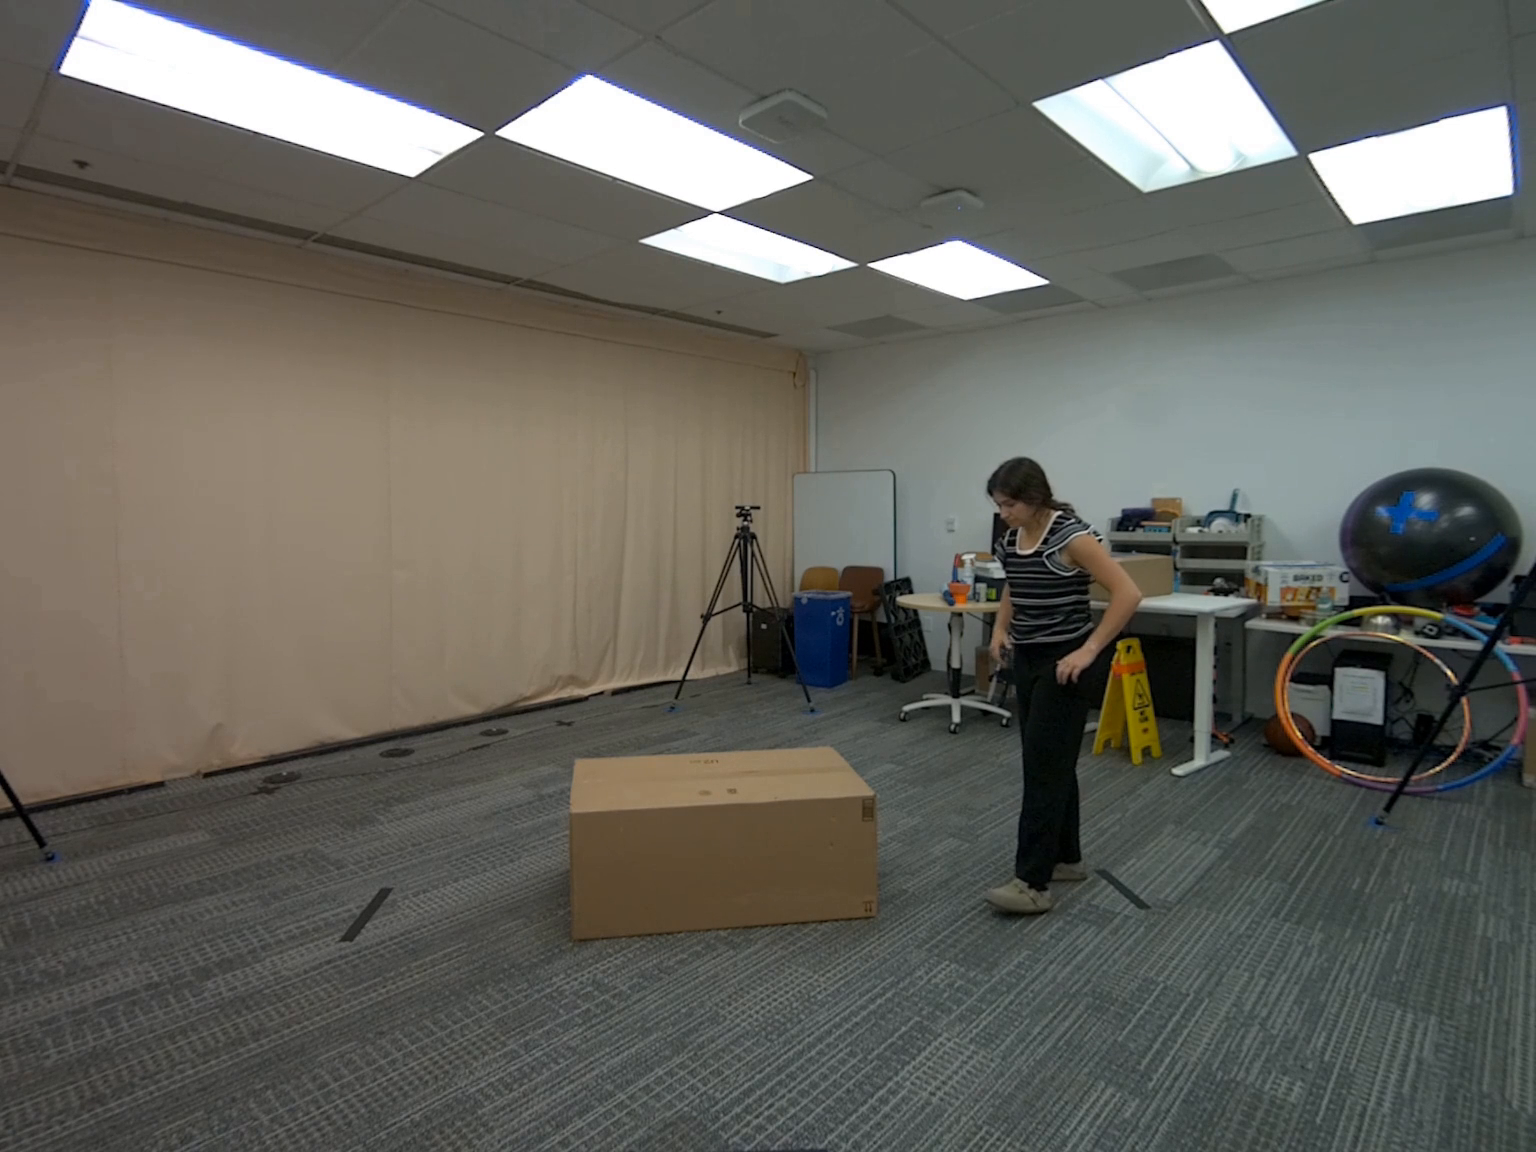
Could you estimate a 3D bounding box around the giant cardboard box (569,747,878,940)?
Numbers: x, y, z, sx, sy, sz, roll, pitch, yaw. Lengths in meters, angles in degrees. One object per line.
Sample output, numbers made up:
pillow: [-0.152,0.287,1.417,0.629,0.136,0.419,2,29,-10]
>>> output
giant cardboard box: [-0.187,0.931,3.044,1.017,0.425,0.584,-1,5,-9]
